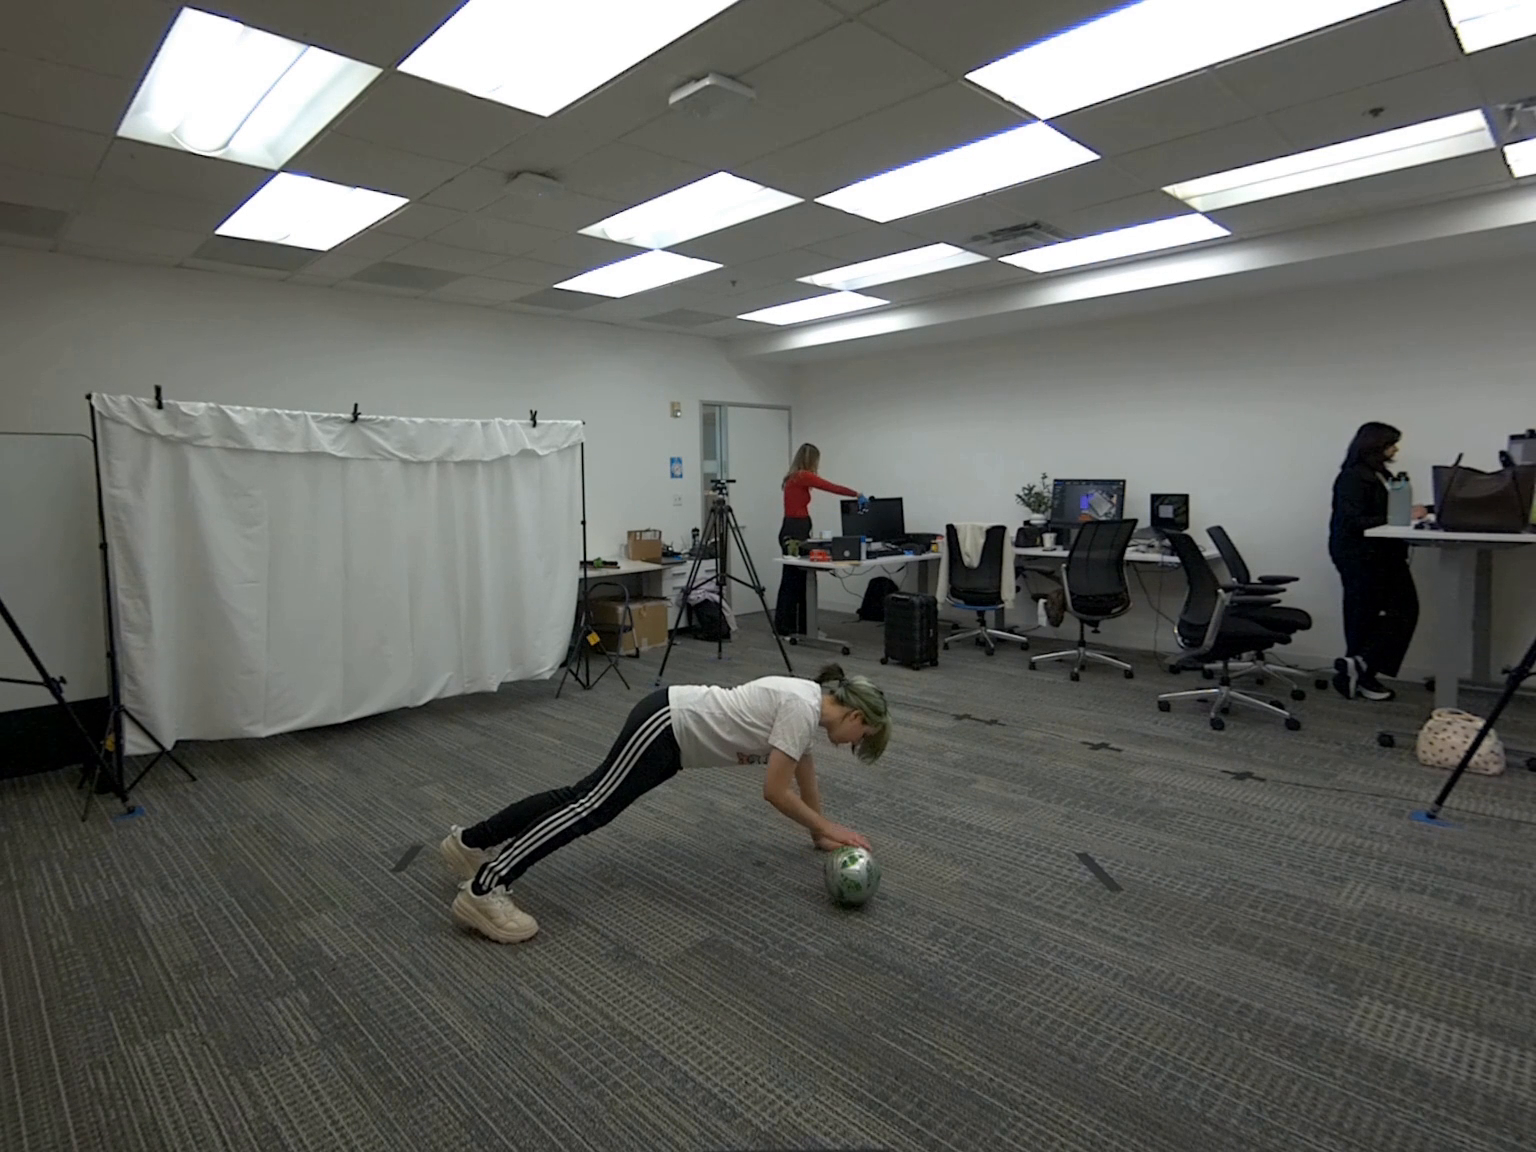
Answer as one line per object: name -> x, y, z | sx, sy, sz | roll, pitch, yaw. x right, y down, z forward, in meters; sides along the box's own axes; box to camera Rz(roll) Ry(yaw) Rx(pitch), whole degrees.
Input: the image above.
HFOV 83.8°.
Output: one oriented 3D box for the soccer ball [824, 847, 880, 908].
soccer ball -> 0.268, 0.975, 2.800 | 0.187, 0.187, 0.188 | -1, 5, -2
